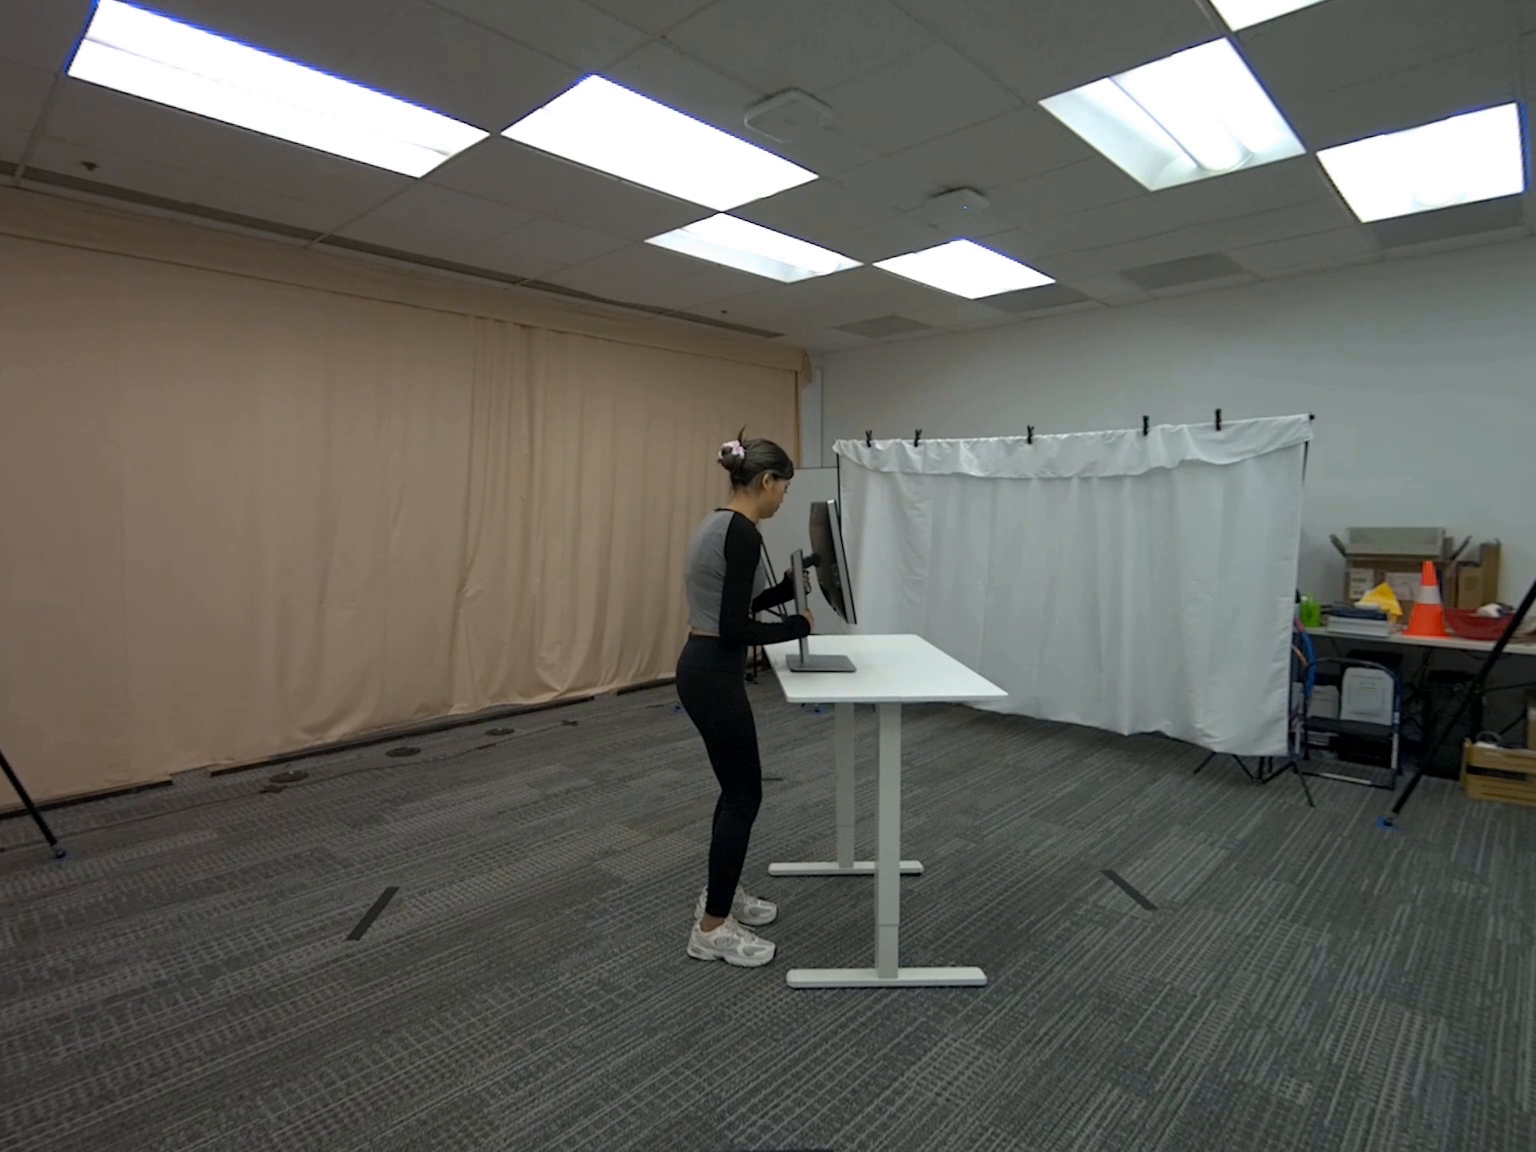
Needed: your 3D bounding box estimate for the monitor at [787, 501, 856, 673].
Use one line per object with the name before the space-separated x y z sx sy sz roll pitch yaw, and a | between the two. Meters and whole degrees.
monitor | 0.168 0.033 2.686 0.187 0.521 0.542 2 5 -4
